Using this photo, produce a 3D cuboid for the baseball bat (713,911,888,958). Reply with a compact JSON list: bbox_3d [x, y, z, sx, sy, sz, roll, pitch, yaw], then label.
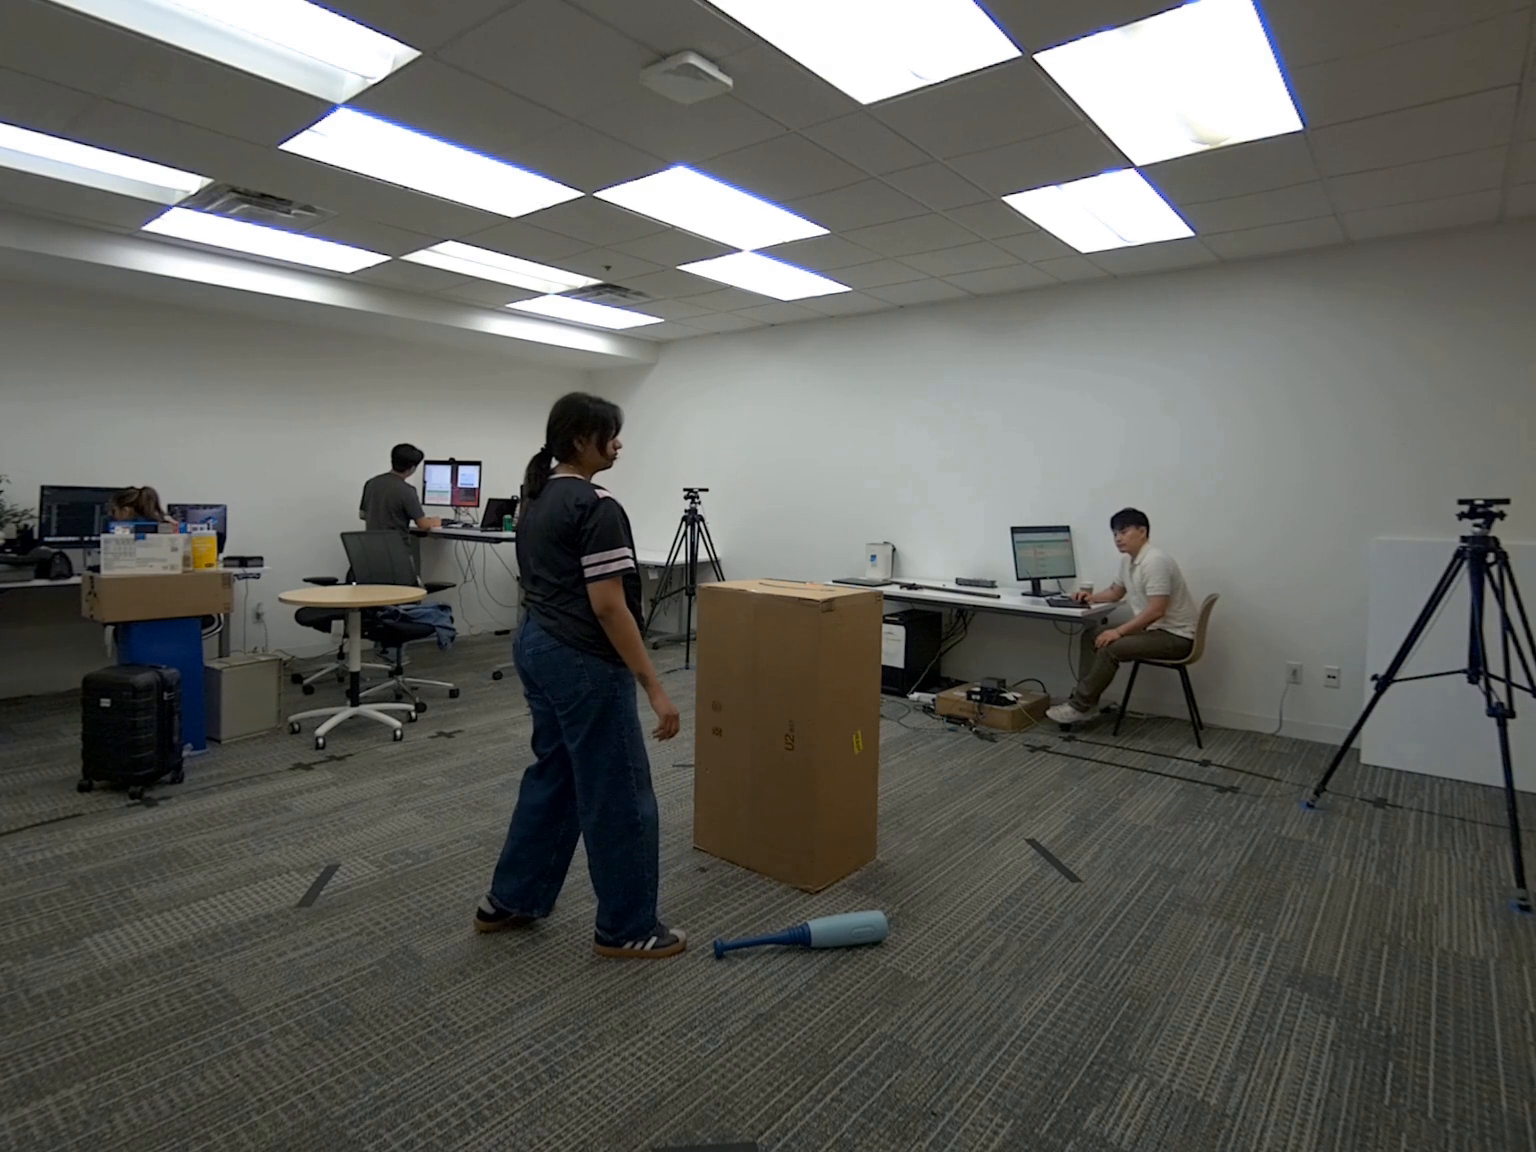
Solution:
[{"bbox_3d":[0.097,1.092,2.584,0.536,0.089,0.090,-2,5,-12],"label":"baseball bat"}]
